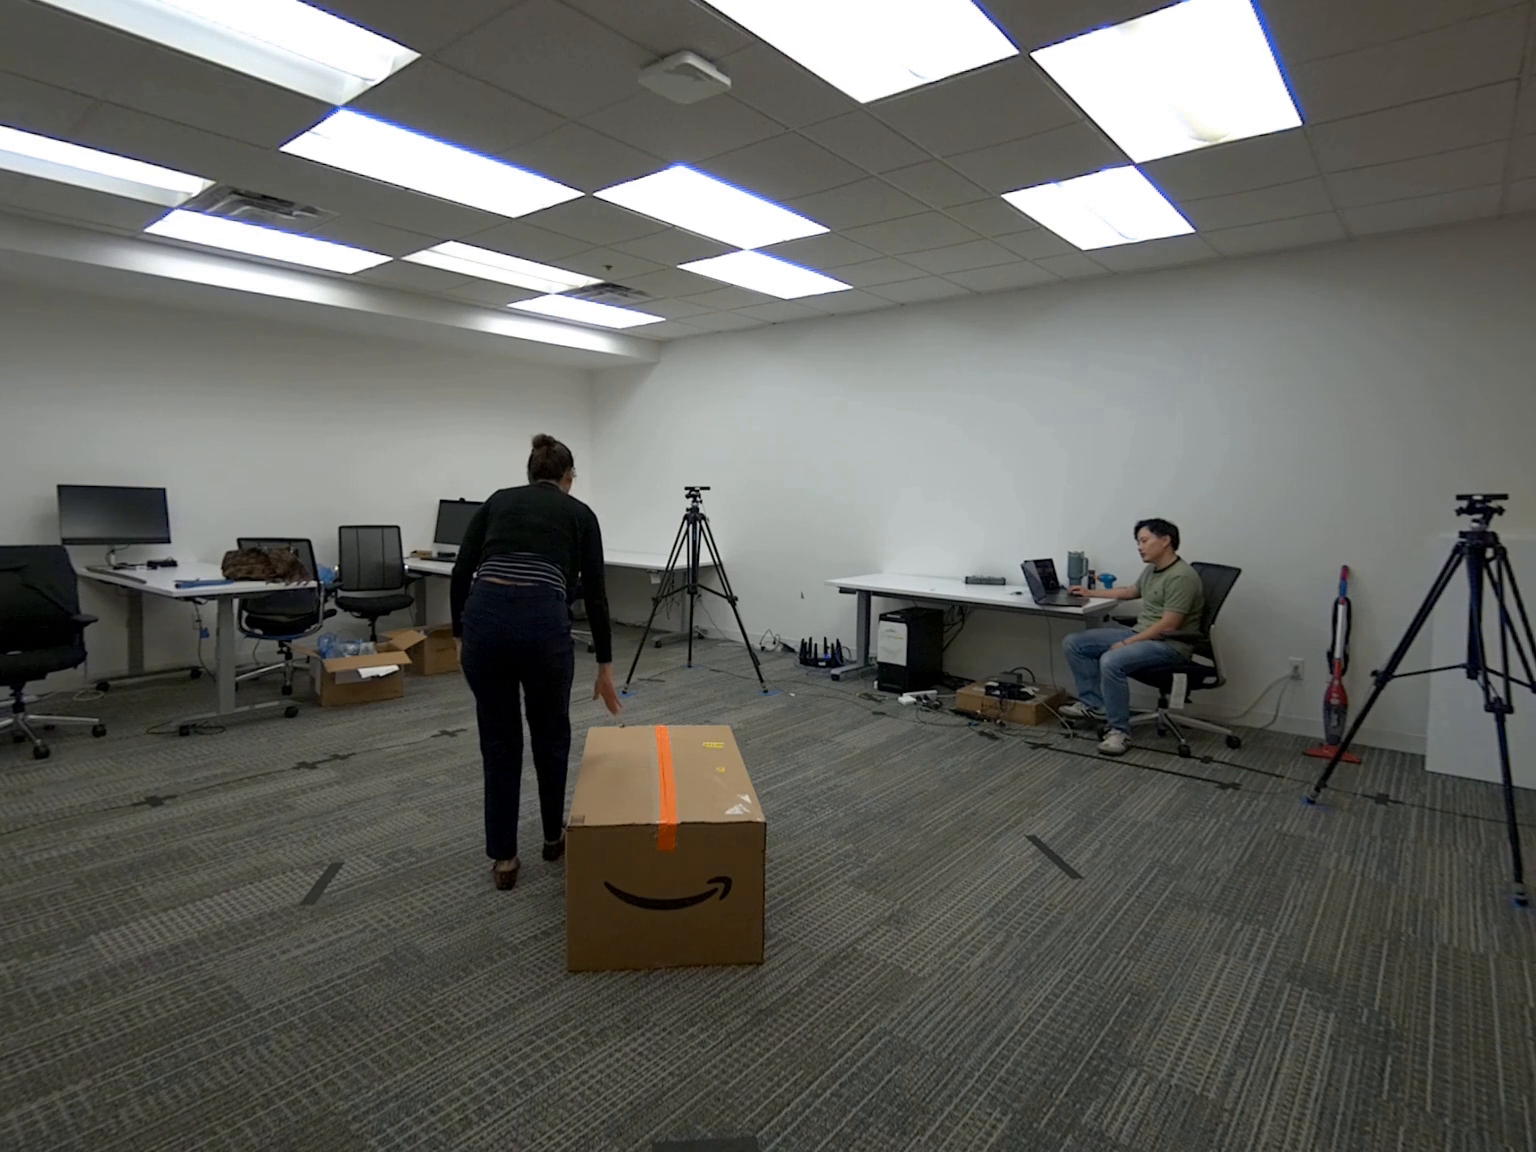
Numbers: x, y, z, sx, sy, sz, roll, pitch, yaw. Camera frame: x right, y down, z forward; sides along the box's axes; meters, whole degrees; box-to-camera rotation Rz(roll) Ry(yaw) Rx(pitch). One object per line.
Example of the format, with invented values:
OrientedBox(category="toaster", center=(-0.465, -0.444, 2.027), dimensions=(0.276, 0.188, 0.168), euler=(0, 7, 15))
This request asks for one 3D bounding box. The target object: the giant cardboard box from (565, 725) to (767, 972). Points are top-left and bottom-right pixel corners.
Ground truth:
OrientedBox(category="giant cardboard box", center=(-0.377, 0.864, 2.945), dimensions=(0.573, 0.424, 1.038), euler=(1, 5, -8))
